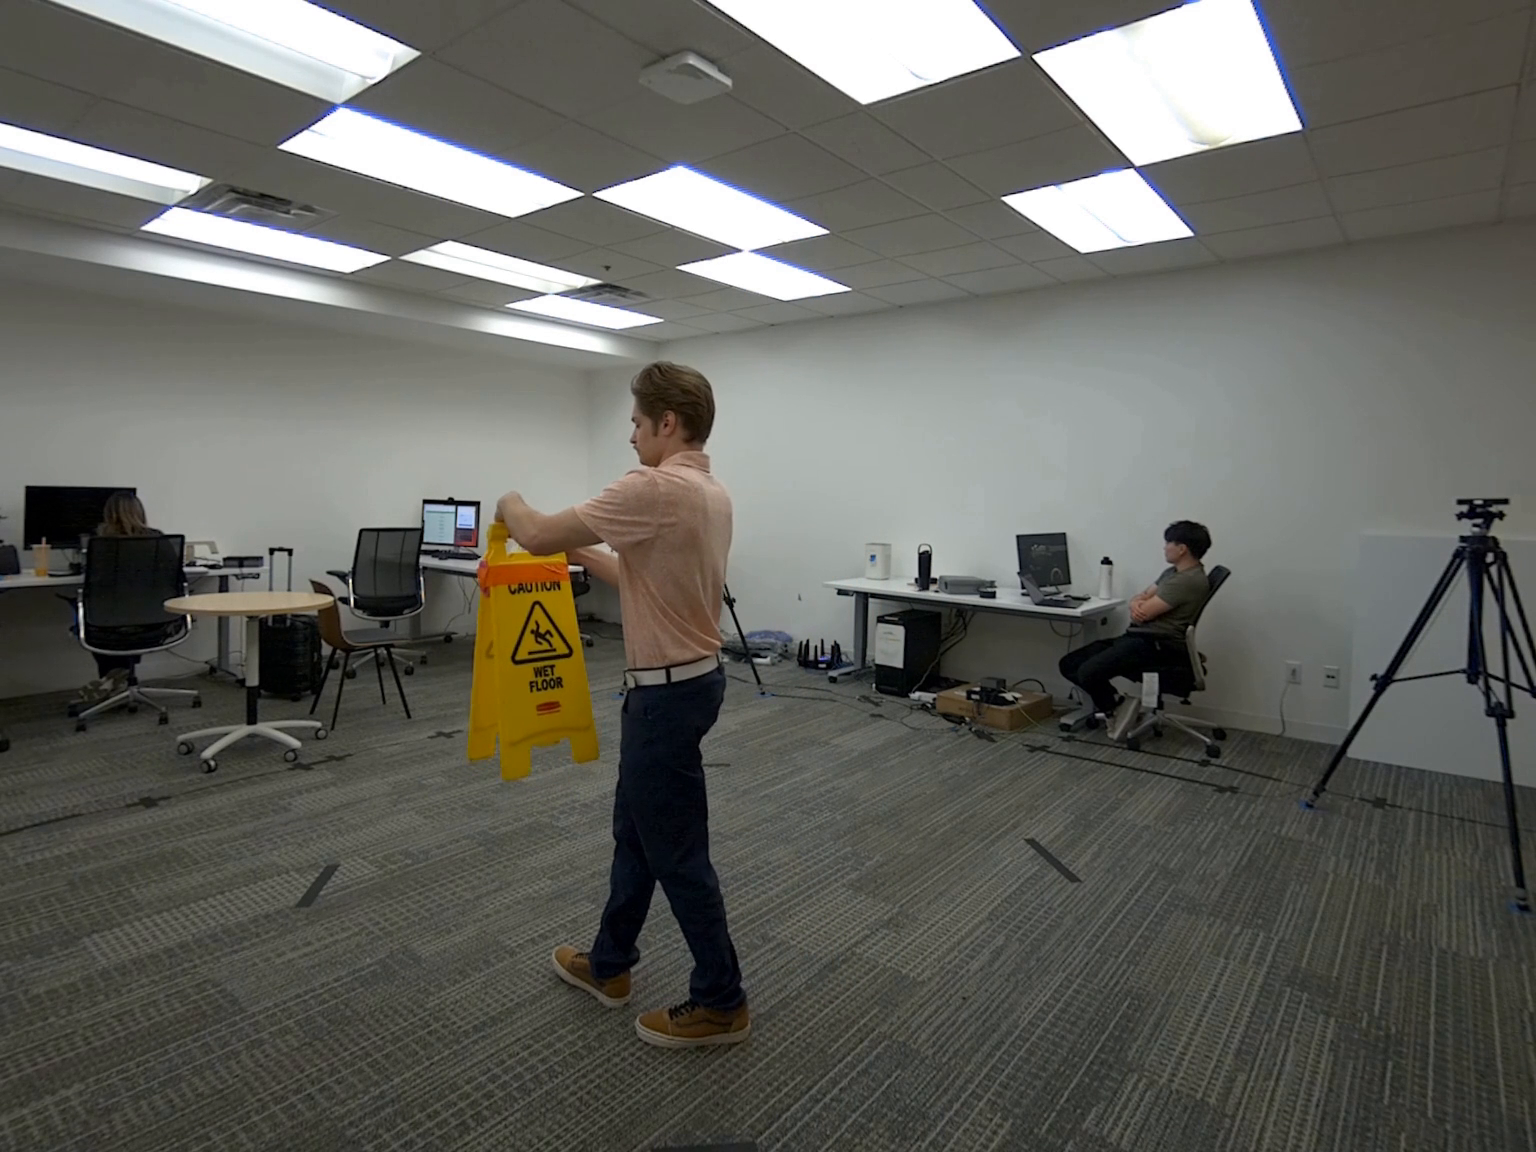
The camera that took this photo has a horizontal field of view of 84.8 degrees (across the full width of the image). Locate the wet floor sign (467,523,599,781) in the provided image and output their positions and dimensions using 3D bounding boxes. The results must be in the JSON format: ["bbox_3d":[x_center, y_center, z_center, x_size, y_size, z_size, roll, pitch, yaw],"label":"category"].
[{"bbox_3d":[-0.660,0.179,2.299,0.274,0.646,0.299,-2,1,-40],"label":"wet floor sign"}]
